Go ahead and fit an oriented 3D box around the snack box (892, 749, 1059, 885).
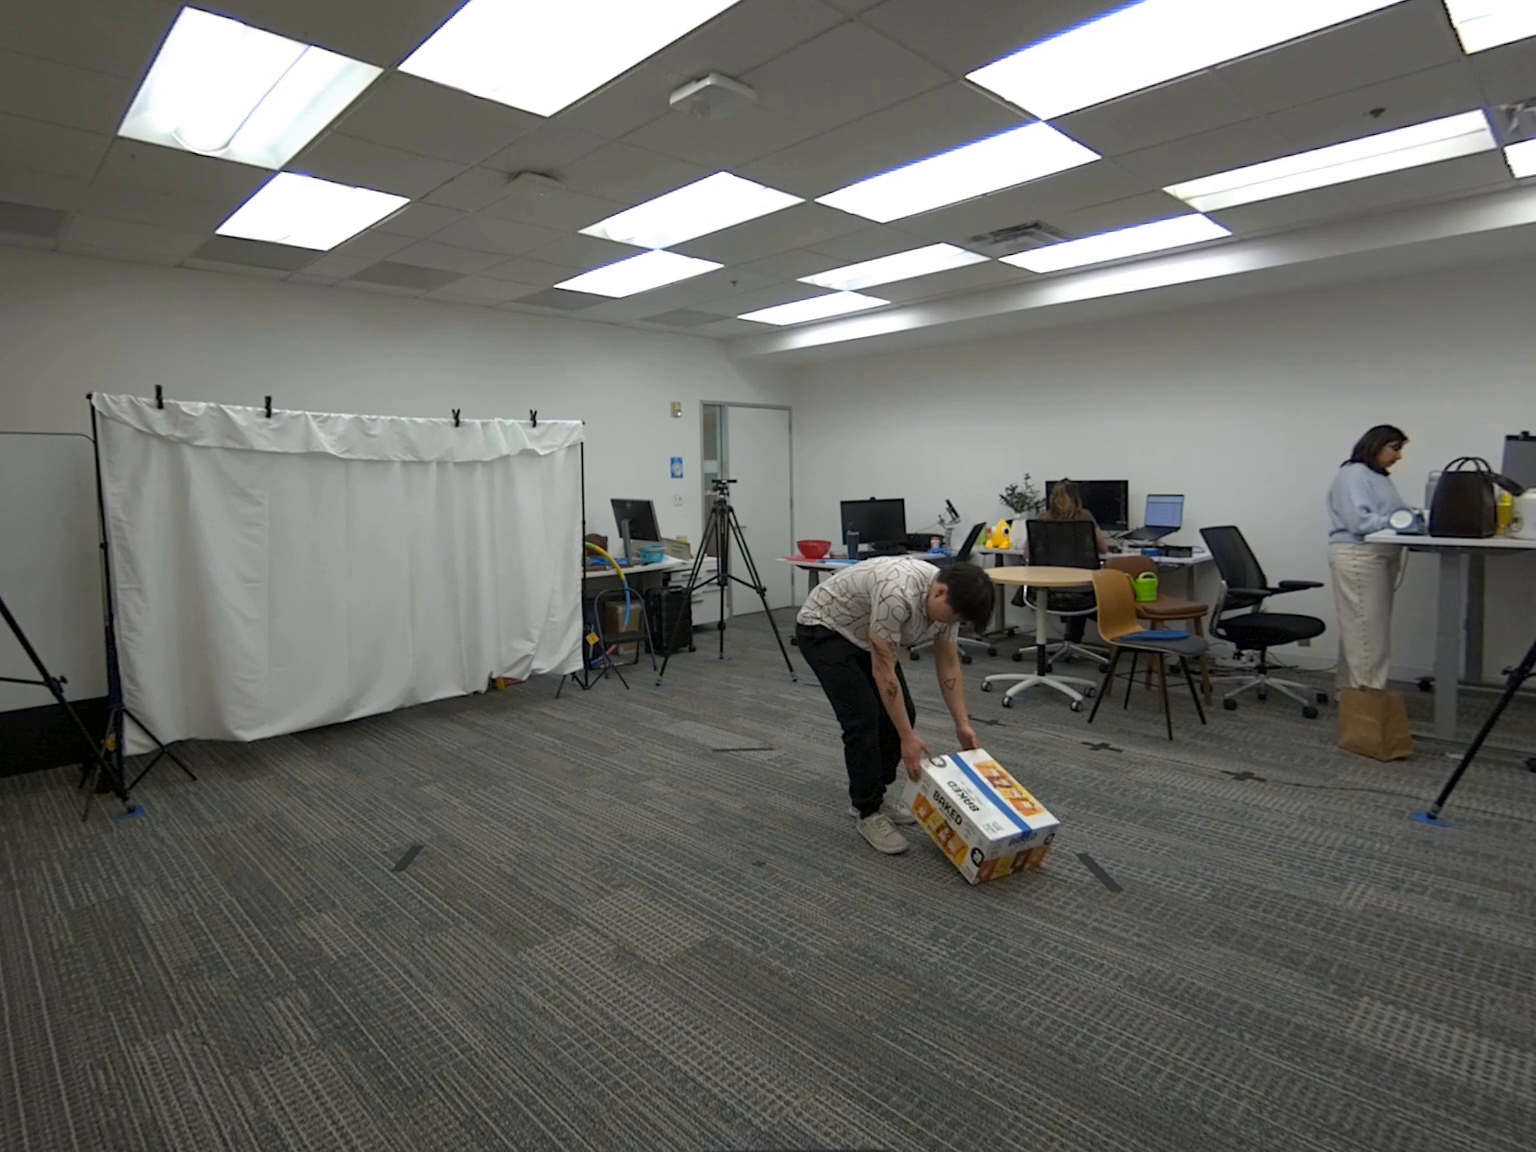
[{"bbox_3d":[0.762,0.859,3.091,0.332,0.203,0.421,-1,29,-30],"label":"snack box"}]
